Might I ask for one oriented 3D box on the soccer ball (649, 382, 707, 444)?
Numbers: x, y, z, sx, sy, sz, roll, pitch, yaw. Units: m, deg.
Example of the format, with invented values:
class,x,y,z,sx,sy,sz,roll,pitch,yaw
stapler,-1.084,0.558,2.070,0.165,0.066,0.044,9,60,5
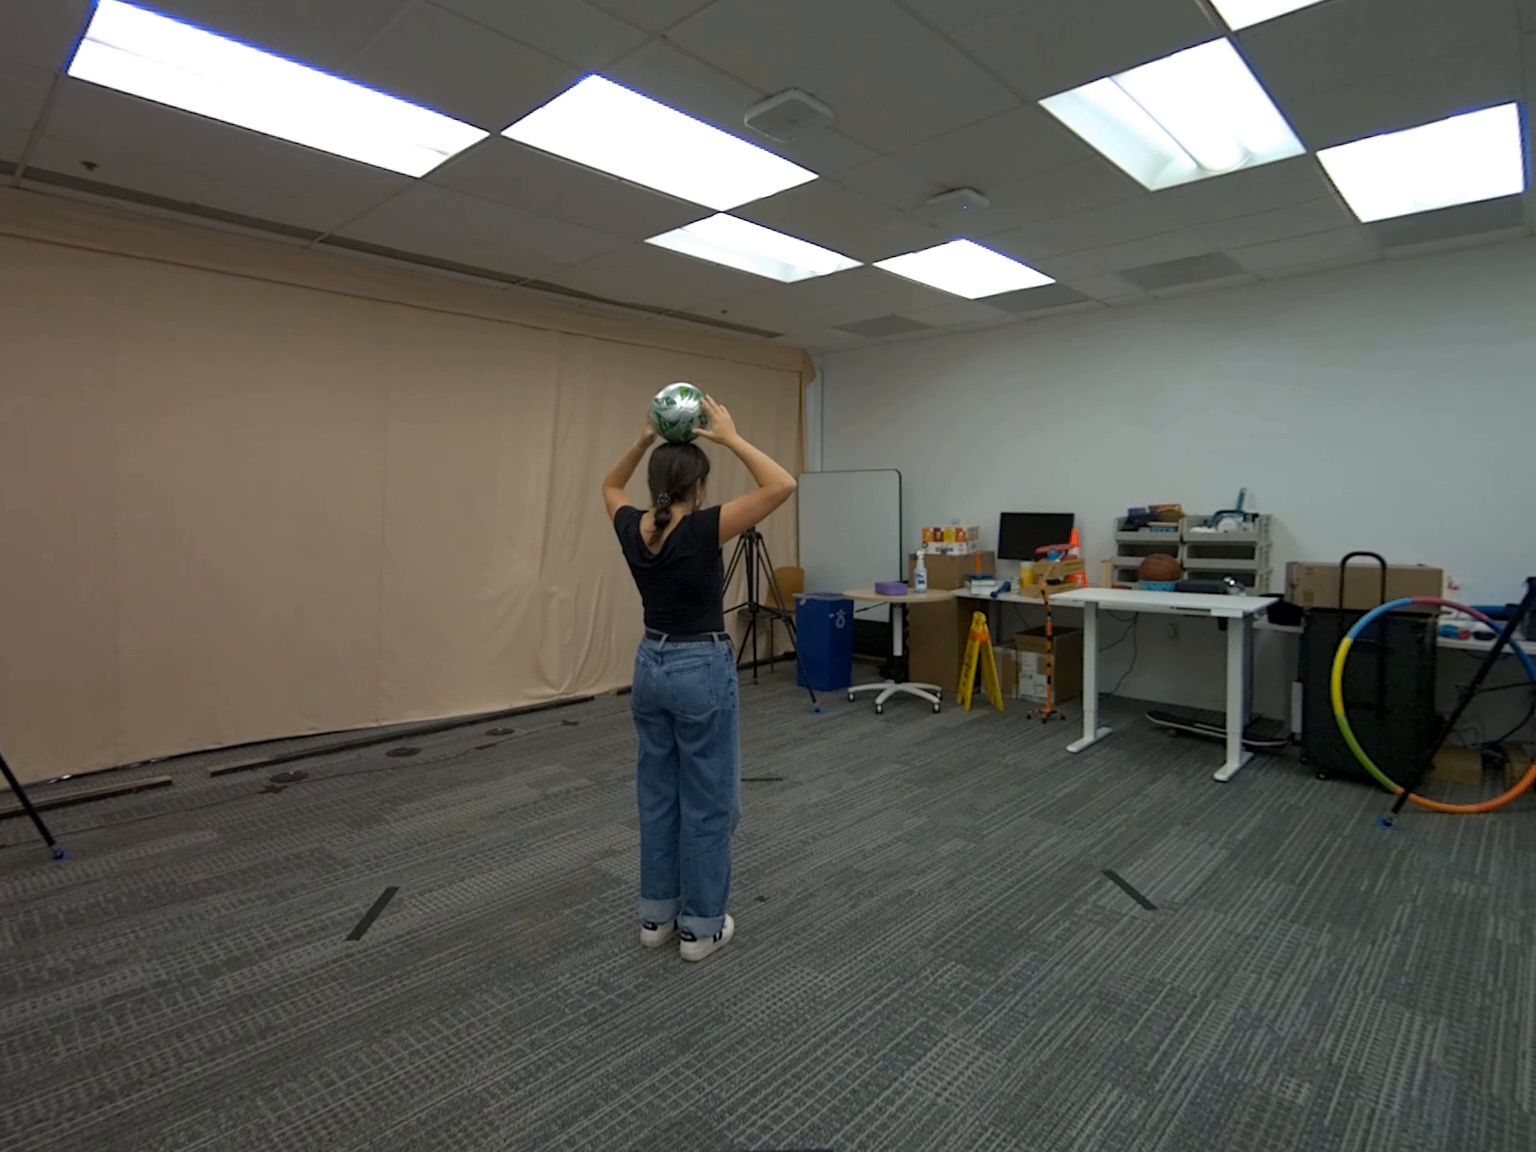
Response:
class,x,y,z,sx,sy,sz,roll,pitch,yaw
soccer ball,-0.265,-0.500,2.614,0.187,0.187,0.188,0,4,-2
